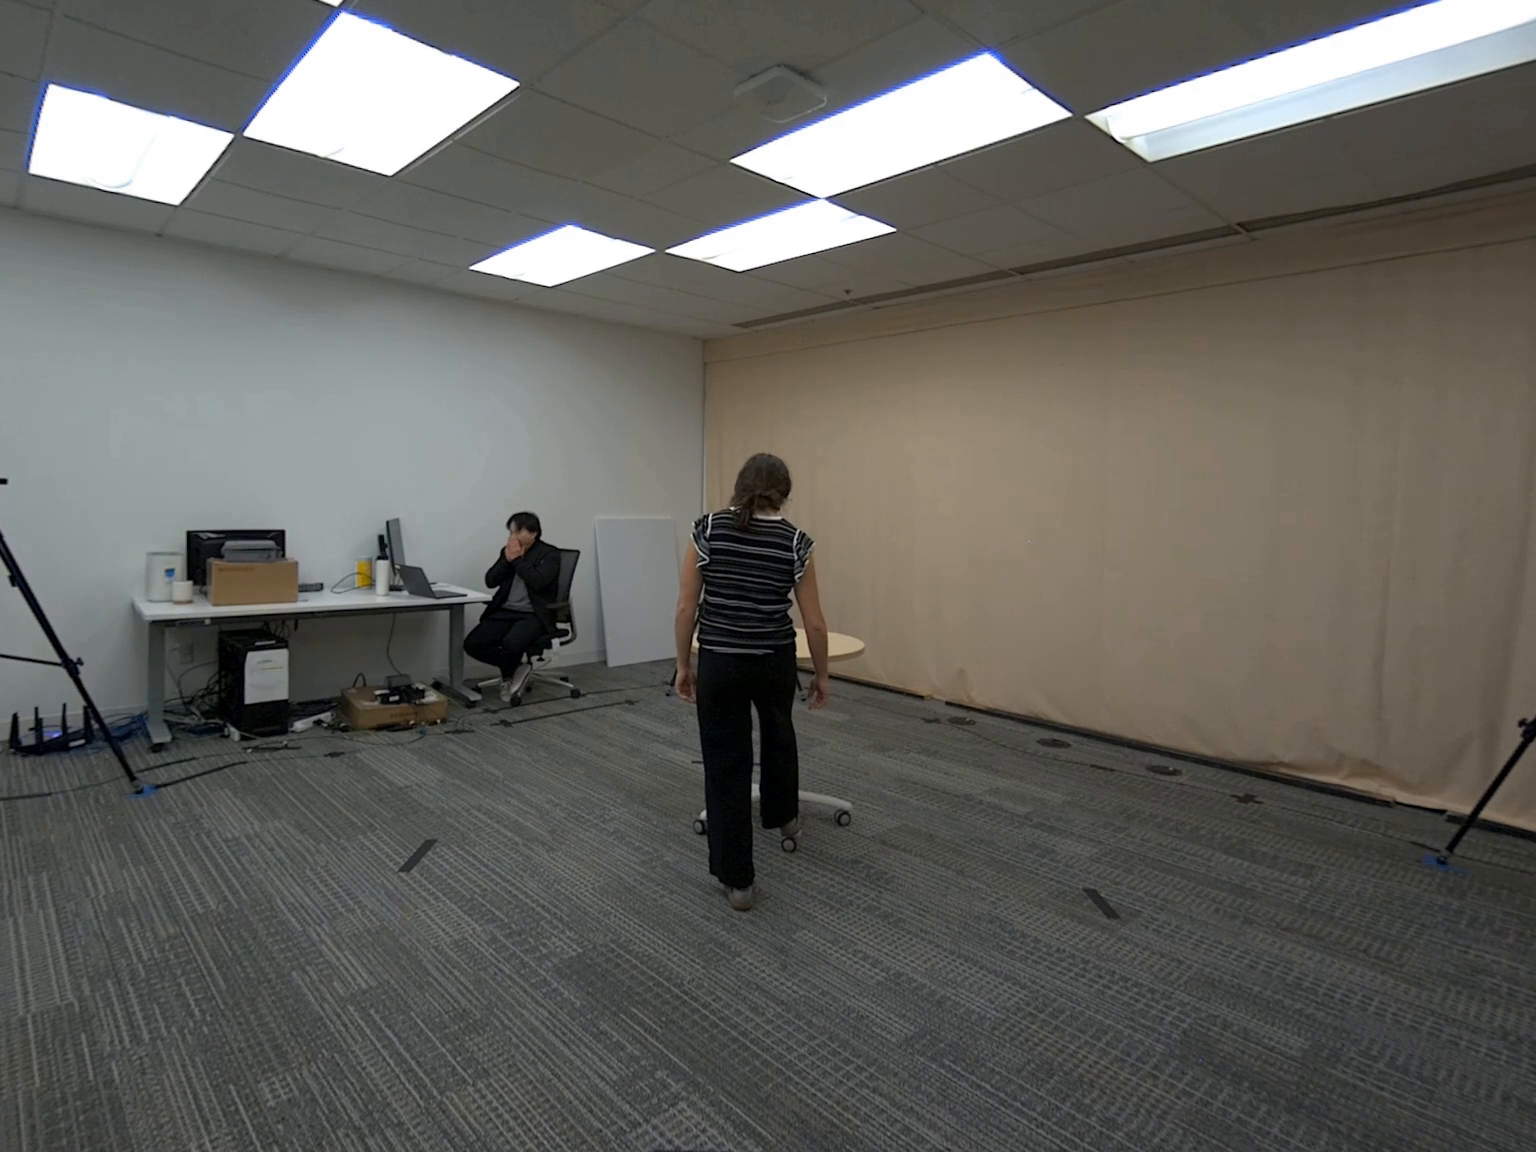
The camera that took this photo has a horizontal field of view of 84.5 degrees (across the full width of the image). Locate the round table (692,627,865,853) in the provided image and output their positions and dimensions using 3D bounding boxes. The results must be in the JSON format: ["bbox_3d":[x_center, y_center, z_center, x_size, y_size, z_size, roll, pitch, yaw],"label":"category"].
[{"bbox_3d":[0.019,0.673,3.654,0.784,0.784,0.788,2,4,-1],"label":"round table"}]
